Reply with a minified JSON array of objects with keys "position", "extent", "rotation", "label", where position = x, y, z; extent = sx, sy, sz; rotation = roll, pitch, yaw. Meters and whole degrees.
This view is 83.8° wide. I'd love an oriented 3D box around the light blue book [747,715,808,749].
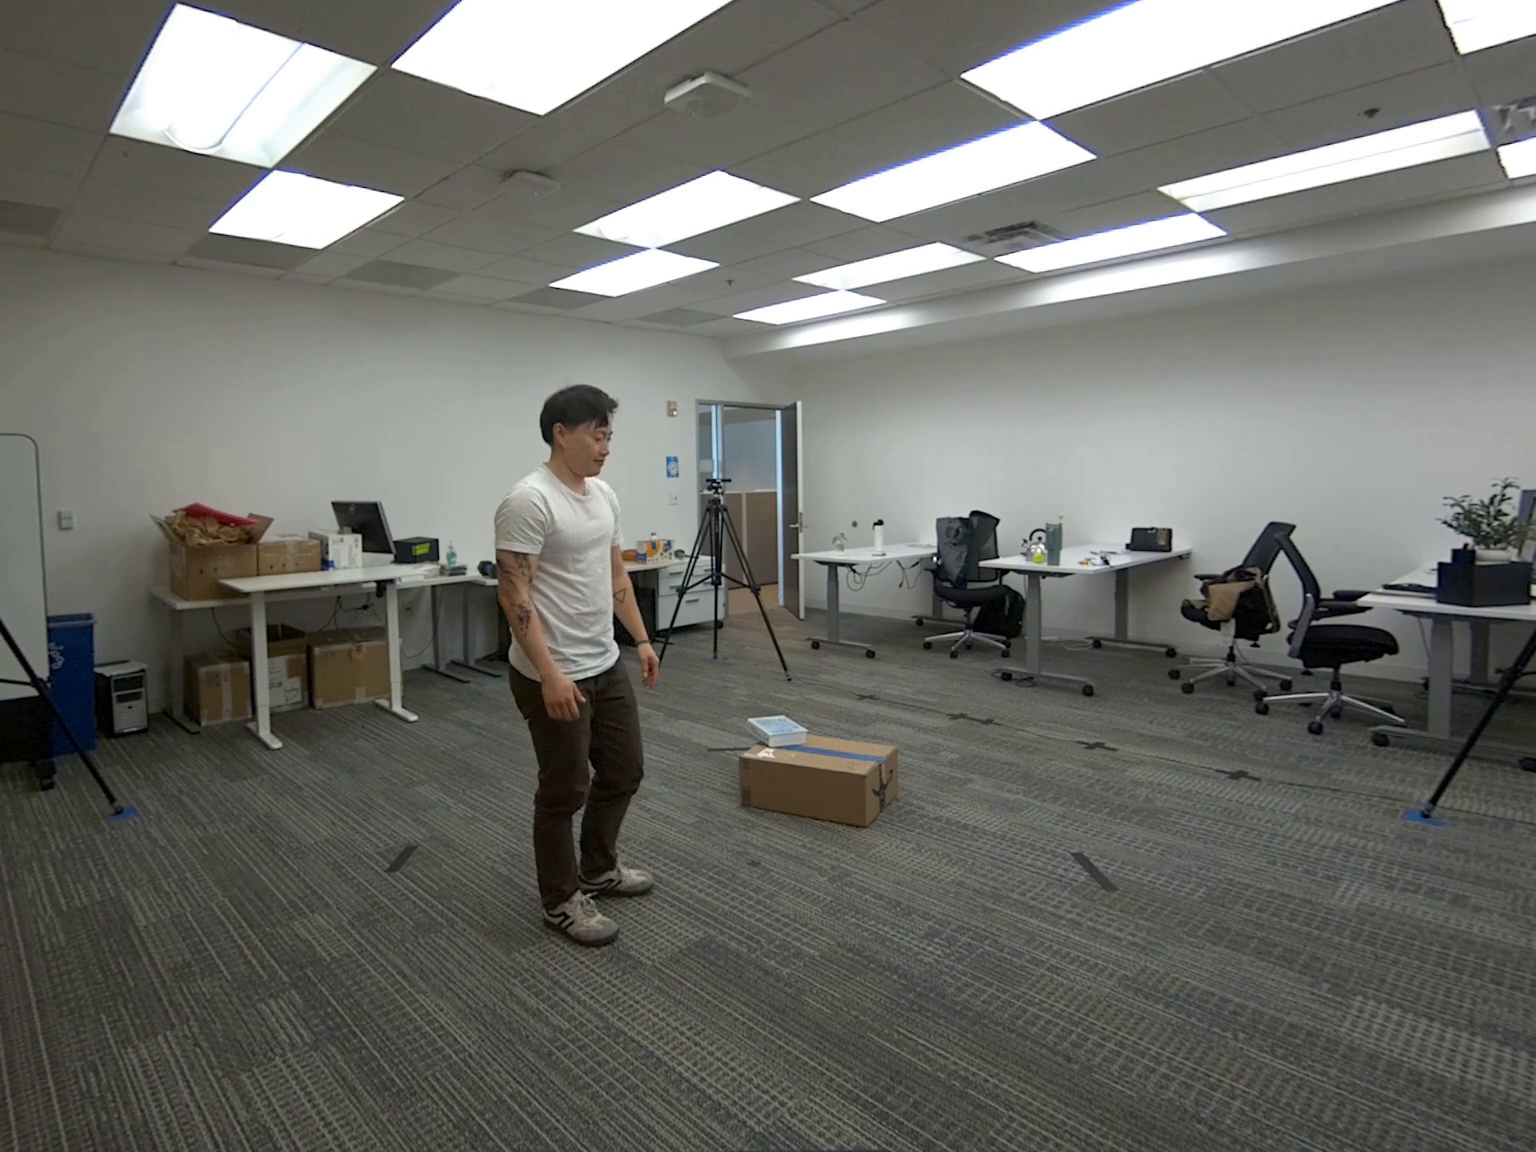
[{"position":[0.041,0.707,3.905],"extent":[0.187,0.059,0.267],"rotation":[-2,7,-23],"label":"light blue book"}]
